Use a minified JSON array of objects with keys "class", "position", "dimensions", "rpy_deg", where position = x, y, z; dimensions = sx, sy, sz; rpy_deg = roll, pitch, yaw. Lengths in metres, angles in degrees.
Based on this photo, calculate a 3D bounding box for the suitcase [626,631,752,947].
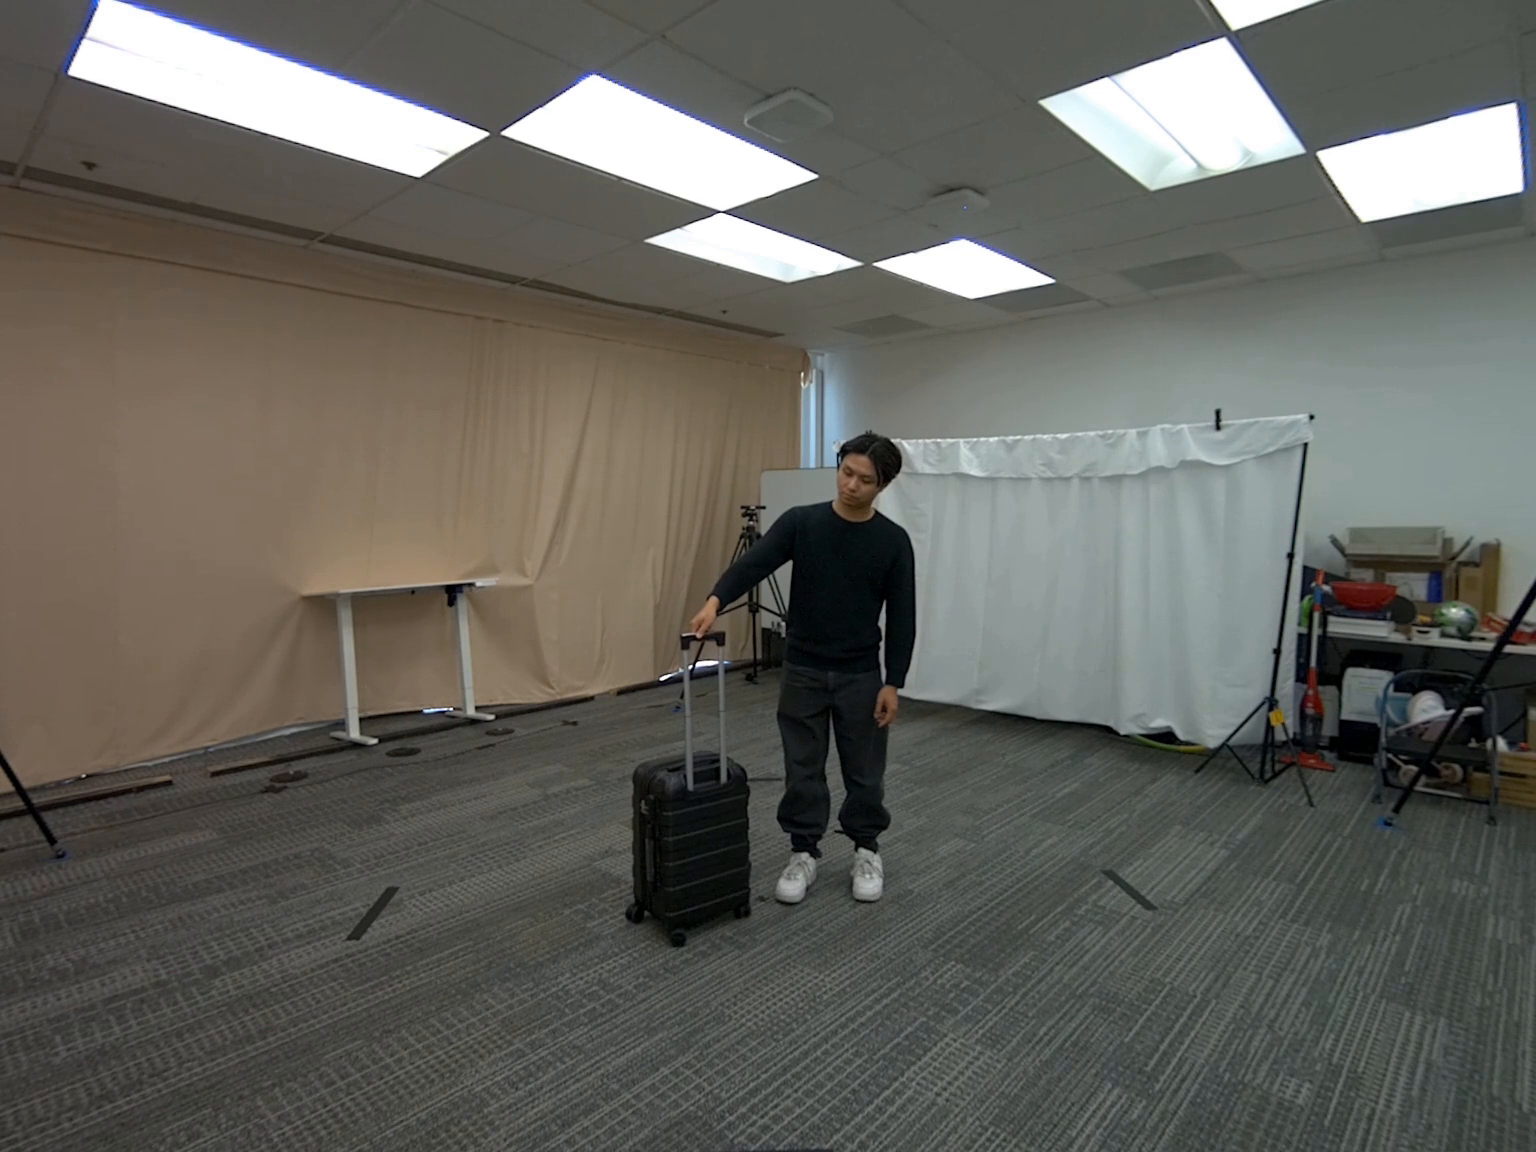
[{"class":"suitcase","position":[-0.267,0.682,2.821],"dimensions":[0.373,0.978,0.265],"rpy_deg":[-2,1,-33]}]
